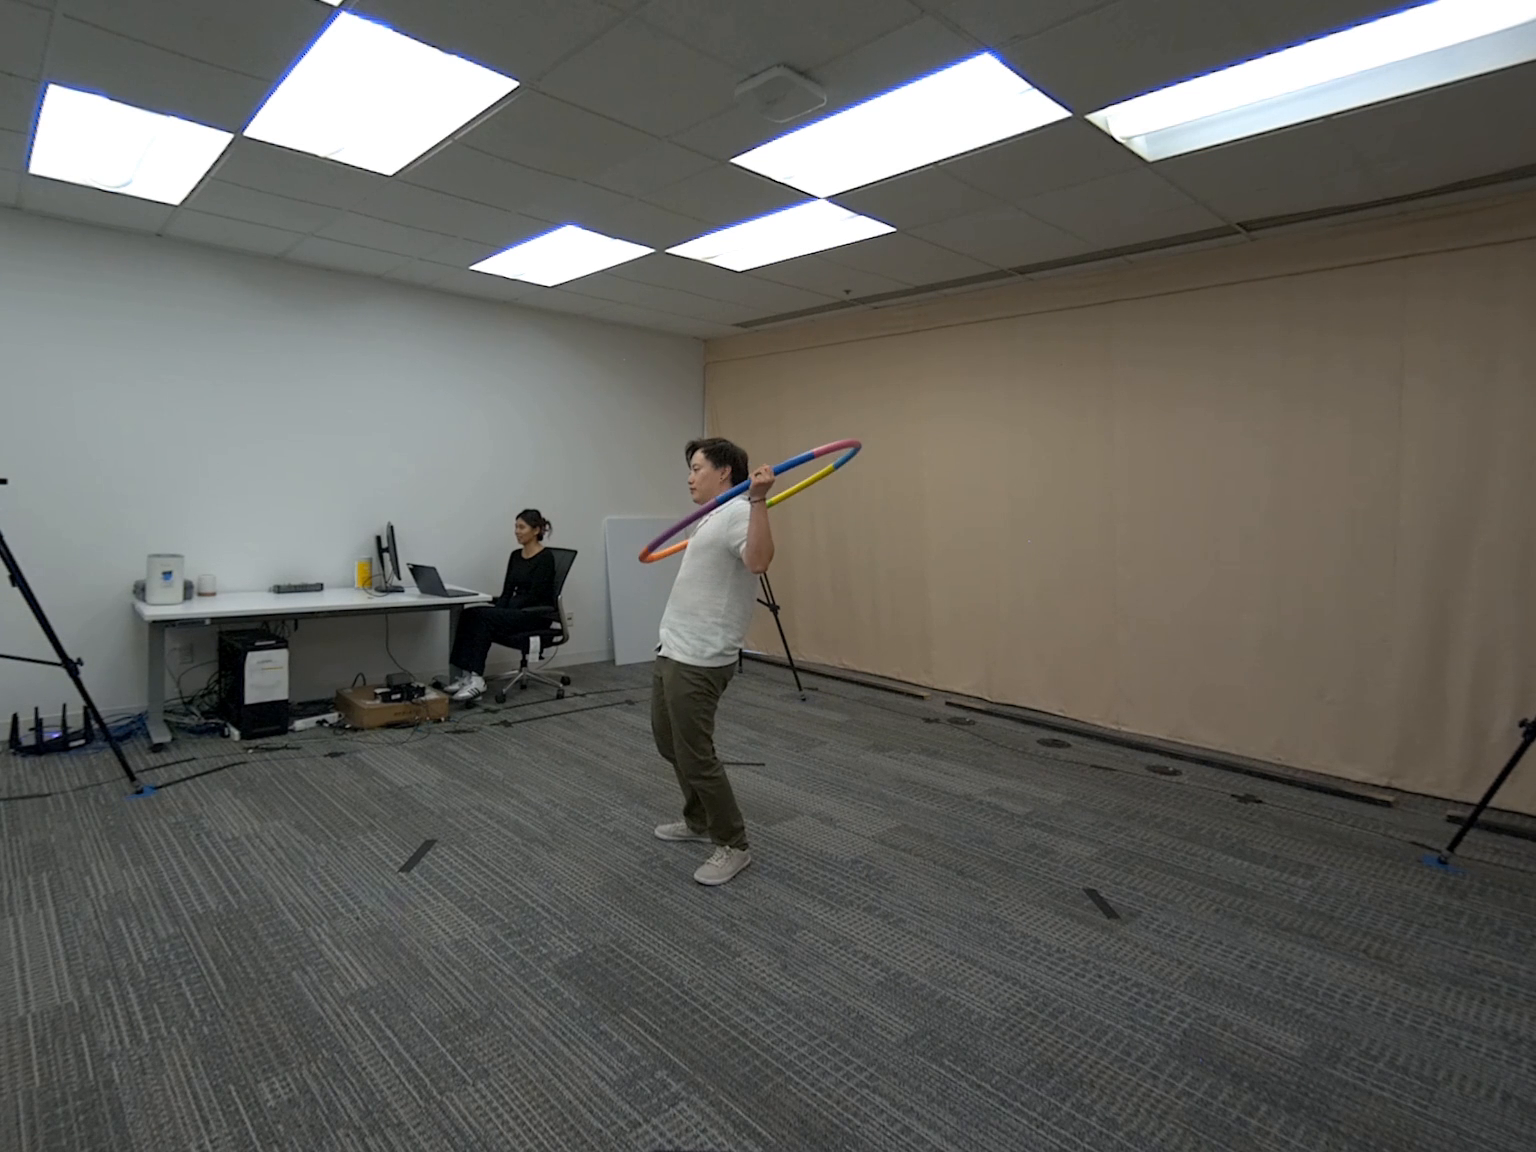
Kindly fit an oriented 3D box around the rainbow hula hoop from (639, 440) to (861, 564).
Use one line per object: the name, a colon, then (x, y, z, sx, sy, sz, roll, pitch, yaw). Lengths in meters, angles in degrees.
rainbow hula hoop: (-0.088, -0.288, 3.328, 0.977, 0.036, 0.975, -27, -2, -4)
